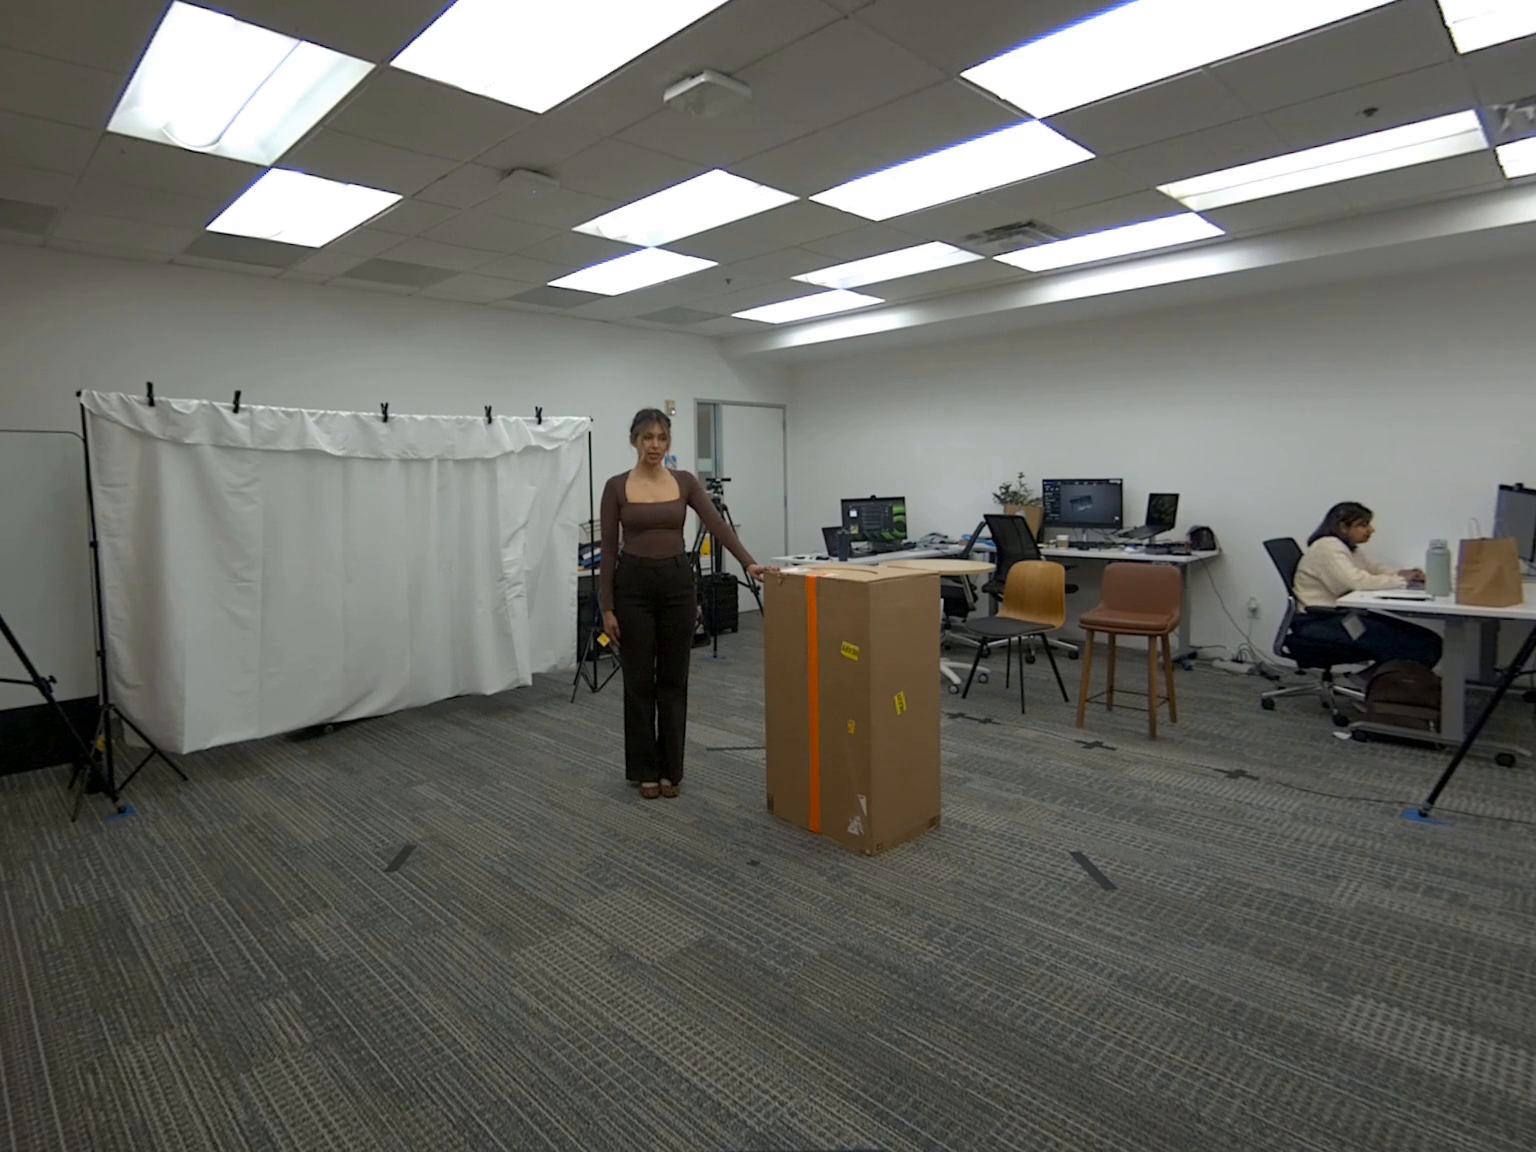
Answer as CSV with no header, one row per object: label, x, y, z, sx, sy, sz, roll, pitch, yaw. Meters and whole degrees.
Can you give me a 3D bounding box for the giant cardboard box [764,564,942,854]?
giant cardboard box,0.335,0.487,3.455,0.435,1.023,0.602,-5,6,-39
